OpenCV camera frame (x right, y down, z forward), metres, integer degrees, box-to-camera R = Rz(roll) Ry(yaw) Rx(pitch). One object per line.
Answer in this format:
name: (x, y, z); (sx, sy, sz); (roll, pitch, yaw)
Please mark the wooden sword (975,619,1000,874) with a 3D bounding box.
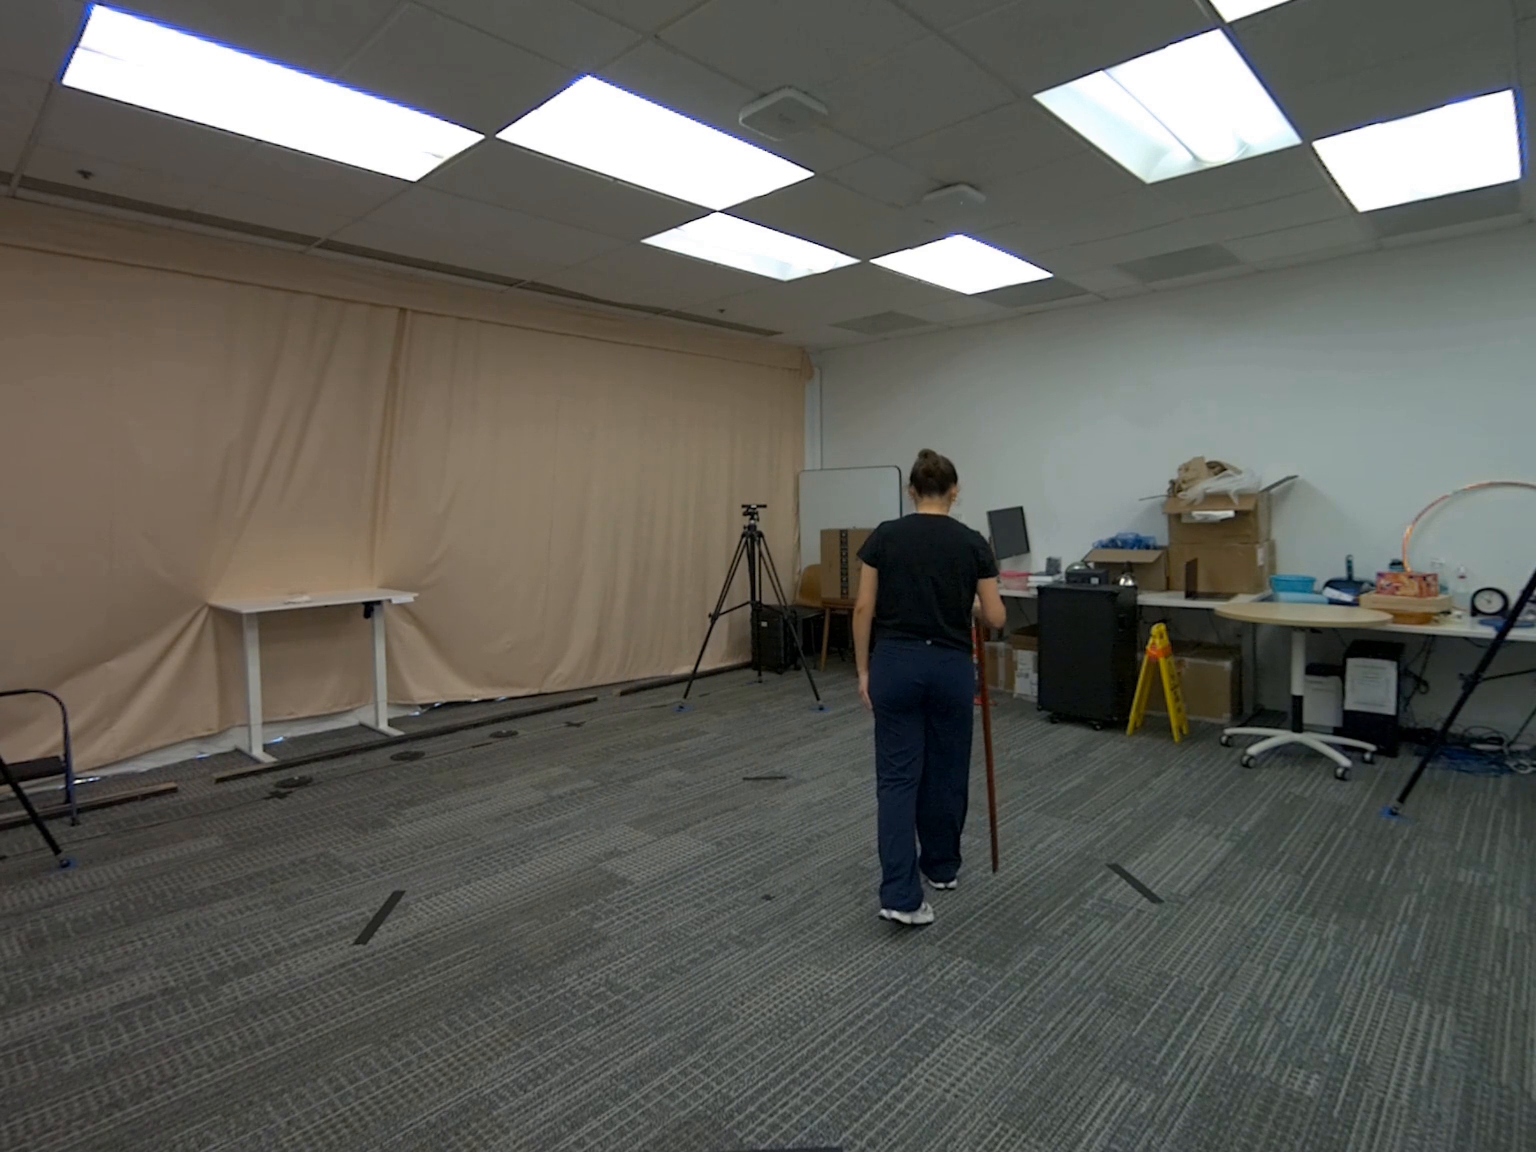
wooden sword: (0.834, 0.600, 3.106); (0.051, 1.025, 0.024); (-1, -1, -7)
